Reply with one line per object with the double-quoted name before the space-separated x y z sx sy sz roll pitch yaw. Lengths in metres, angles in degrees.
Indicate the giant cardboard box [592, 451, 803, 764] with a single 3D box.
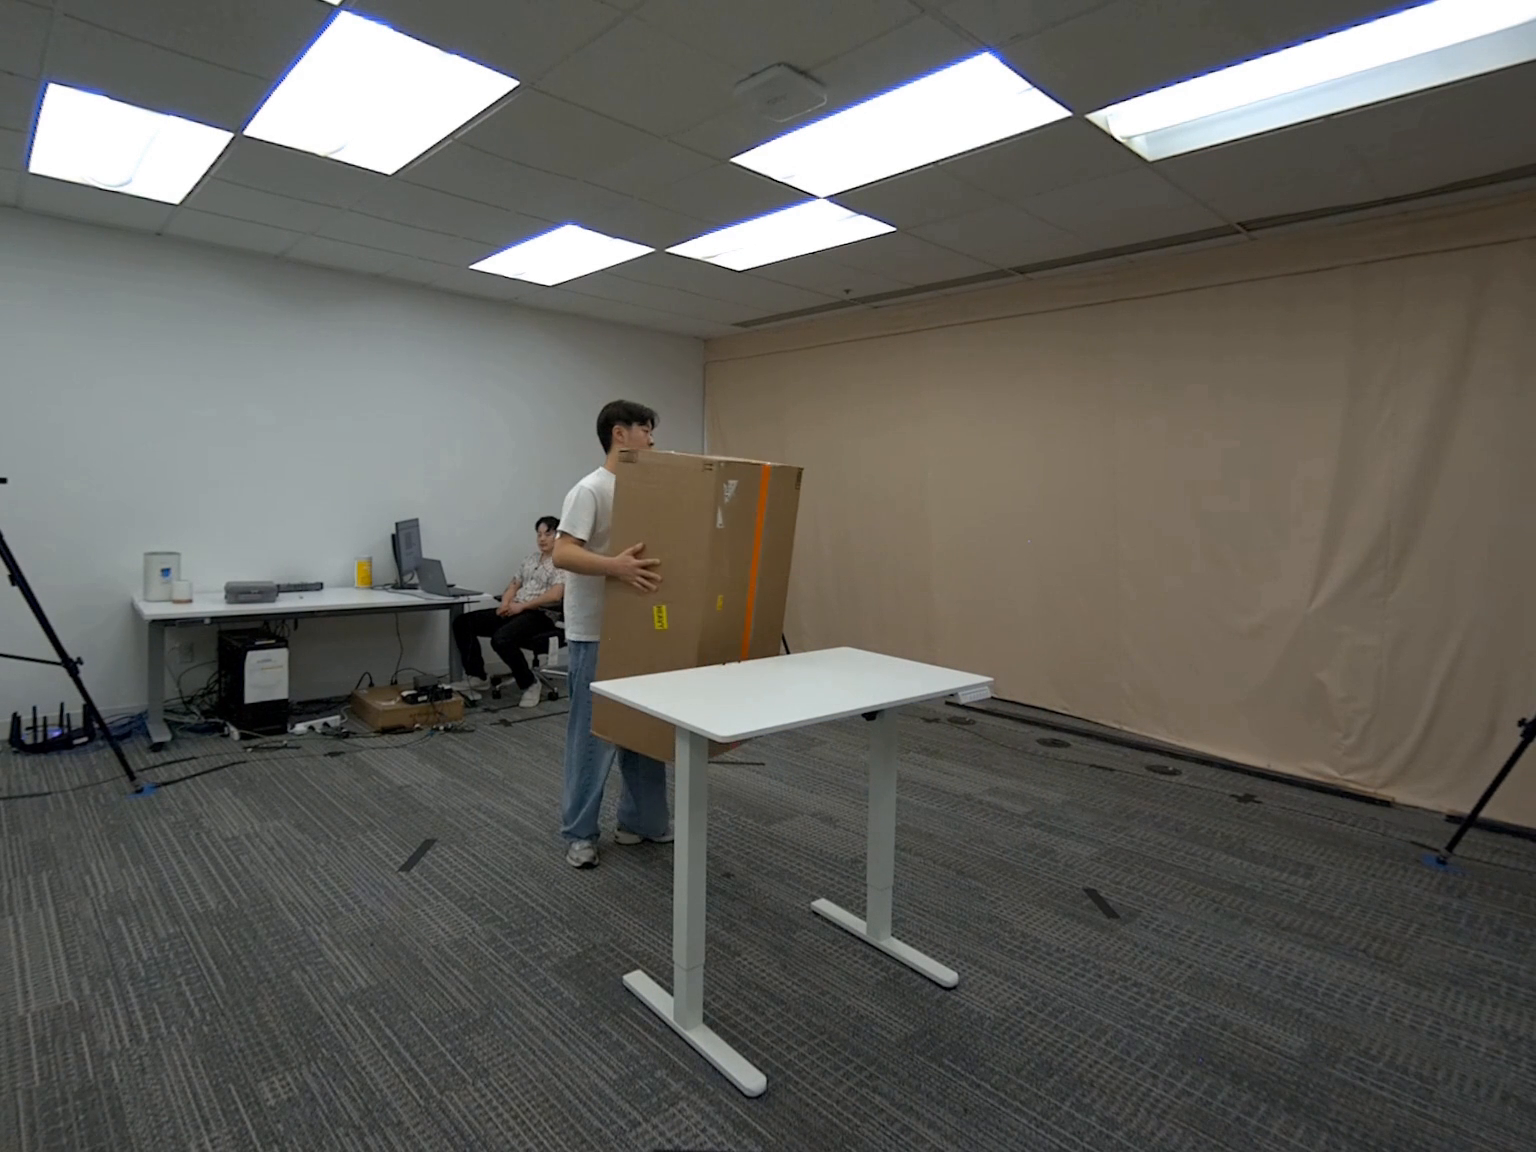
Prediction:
"giant cardboard box" -0.251 0.082 3.061 0.436 1.021 0.566 11 8 30
